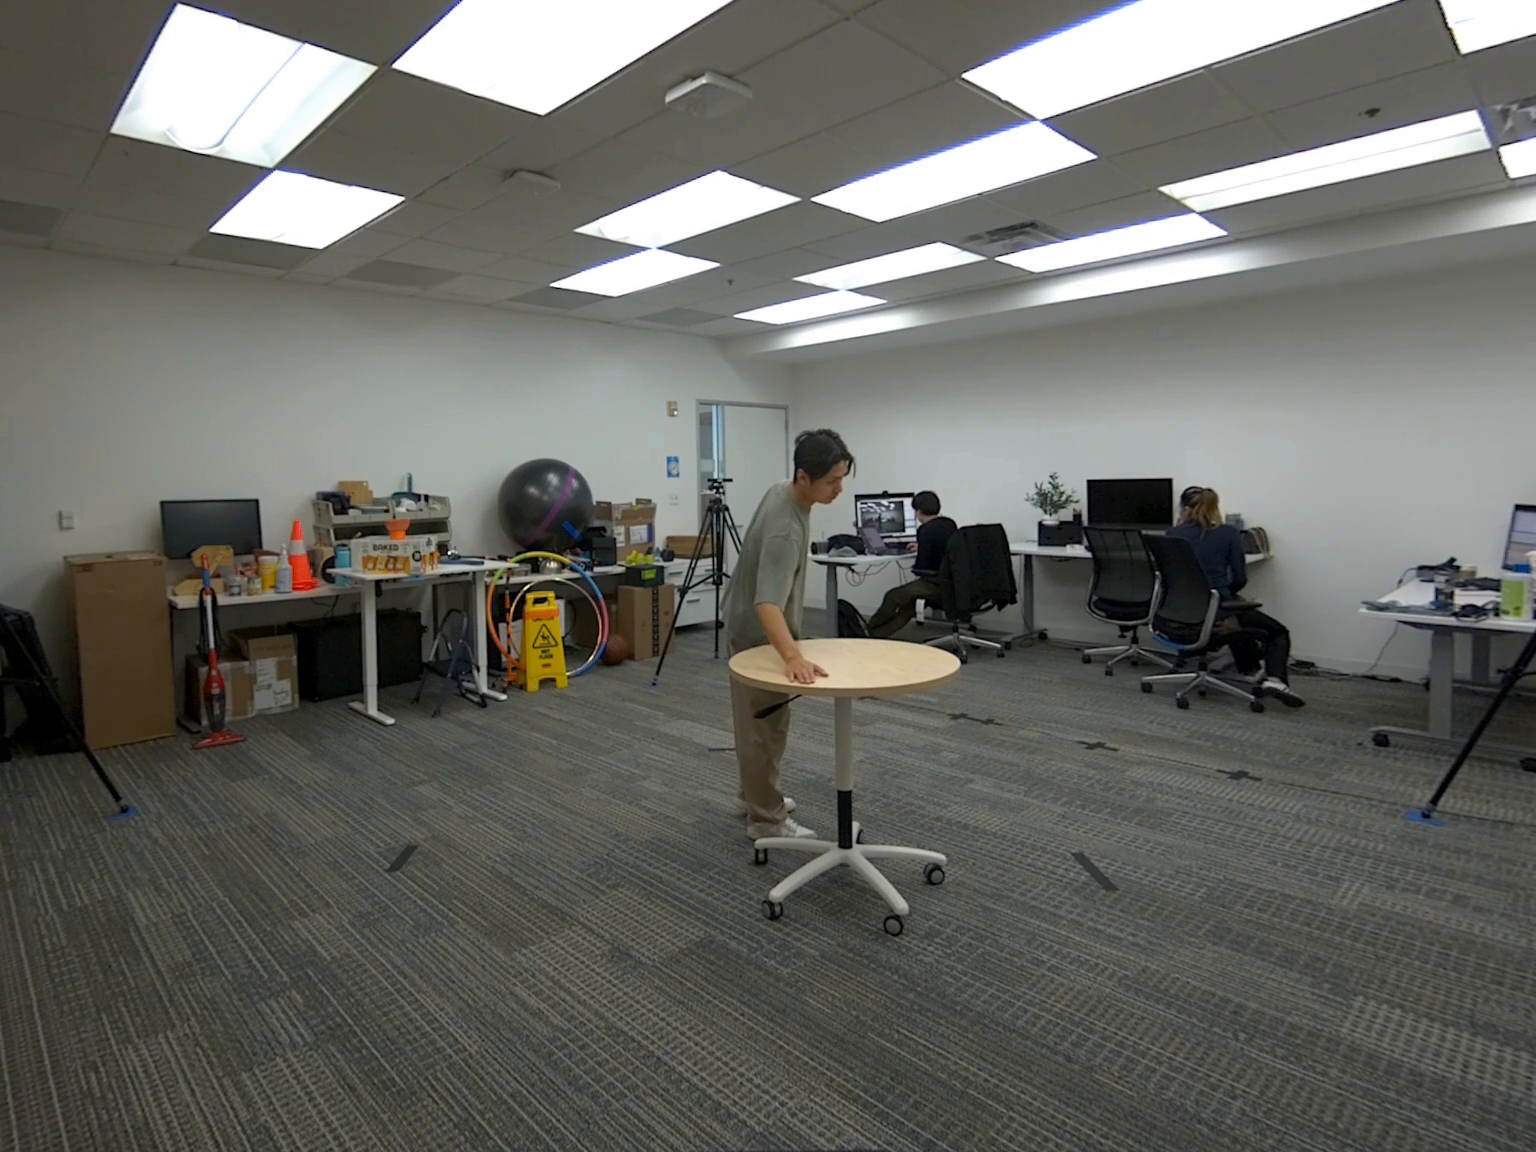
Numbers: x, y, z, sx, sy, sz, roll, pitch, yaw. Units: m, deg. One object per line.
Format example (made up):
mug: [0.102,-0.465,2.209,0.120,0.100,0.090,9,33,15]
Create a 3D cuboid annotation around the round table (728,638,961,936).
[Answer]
round table: [0.268,0.676,2.893,0.763,0.791,0.768,-1,5,-2]
